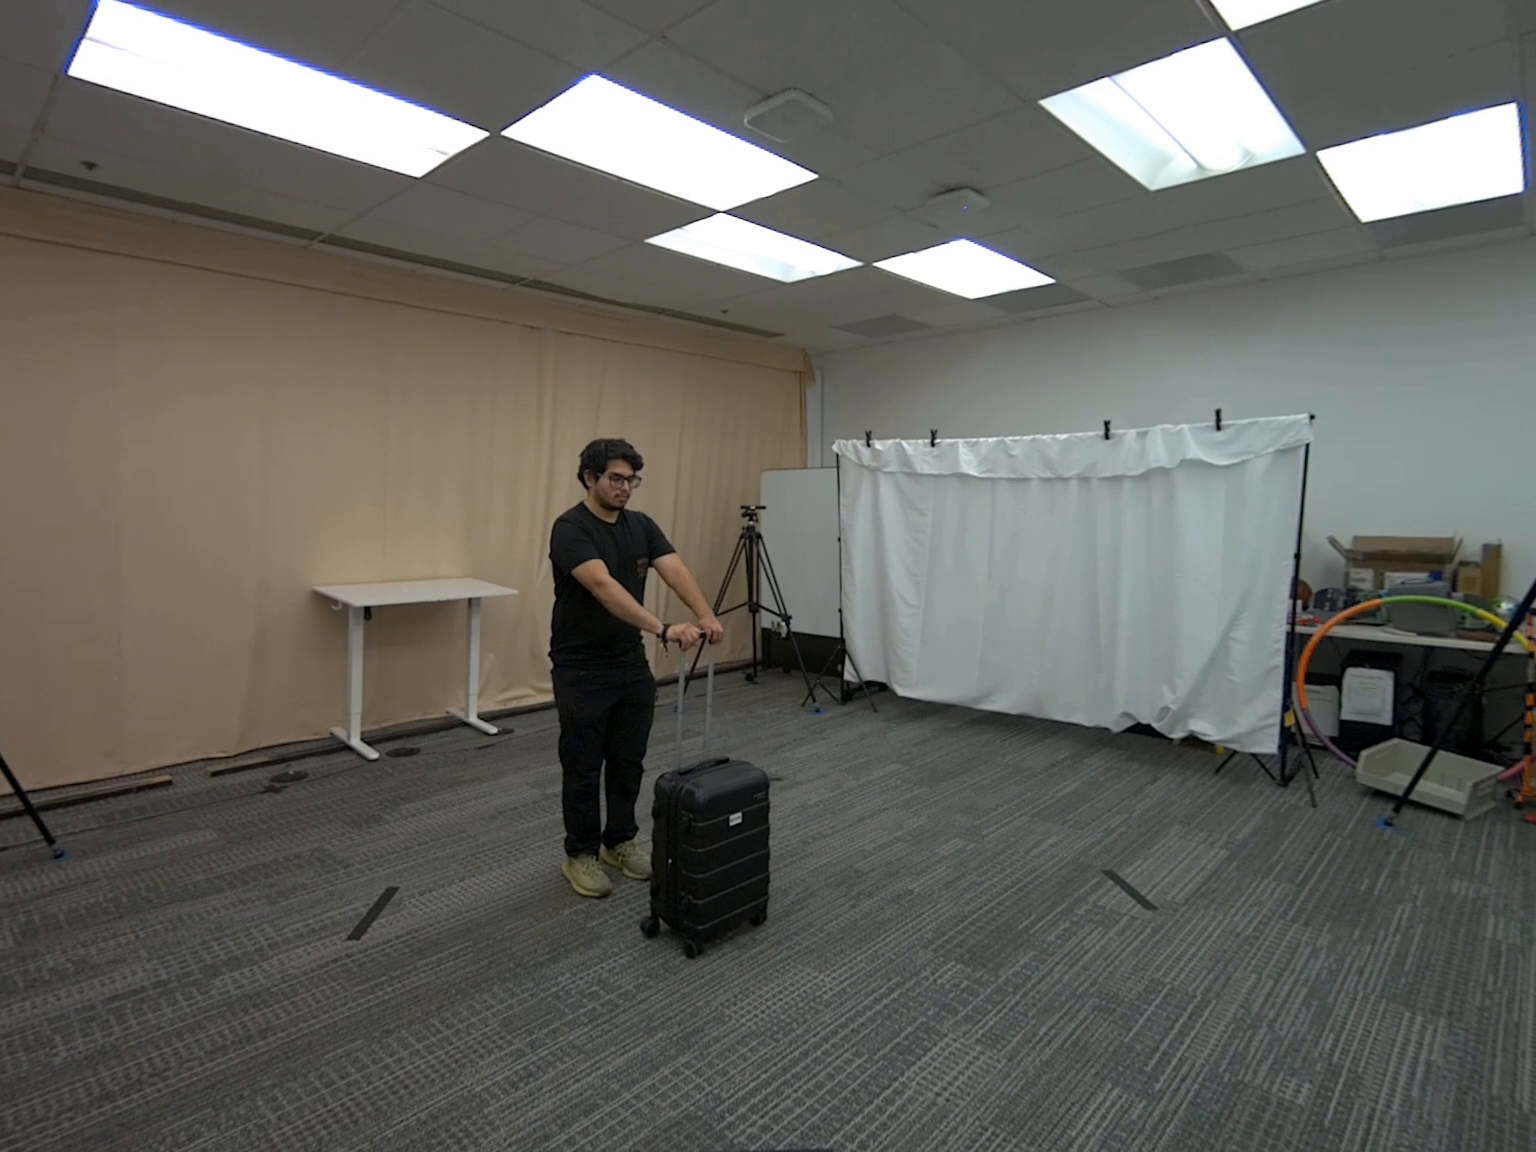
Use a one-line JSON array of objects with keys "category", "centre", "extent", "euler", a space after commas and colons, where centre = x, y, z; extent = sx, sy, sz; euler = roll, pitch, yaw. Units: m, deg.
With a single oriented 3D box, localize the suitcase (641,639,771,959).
[{"category": "suitcase", "centre": [-0.169, 0.690, 2.731], "extent": [0.266, 0.975, 0.372], "euler": [9, 8, 44]}]
